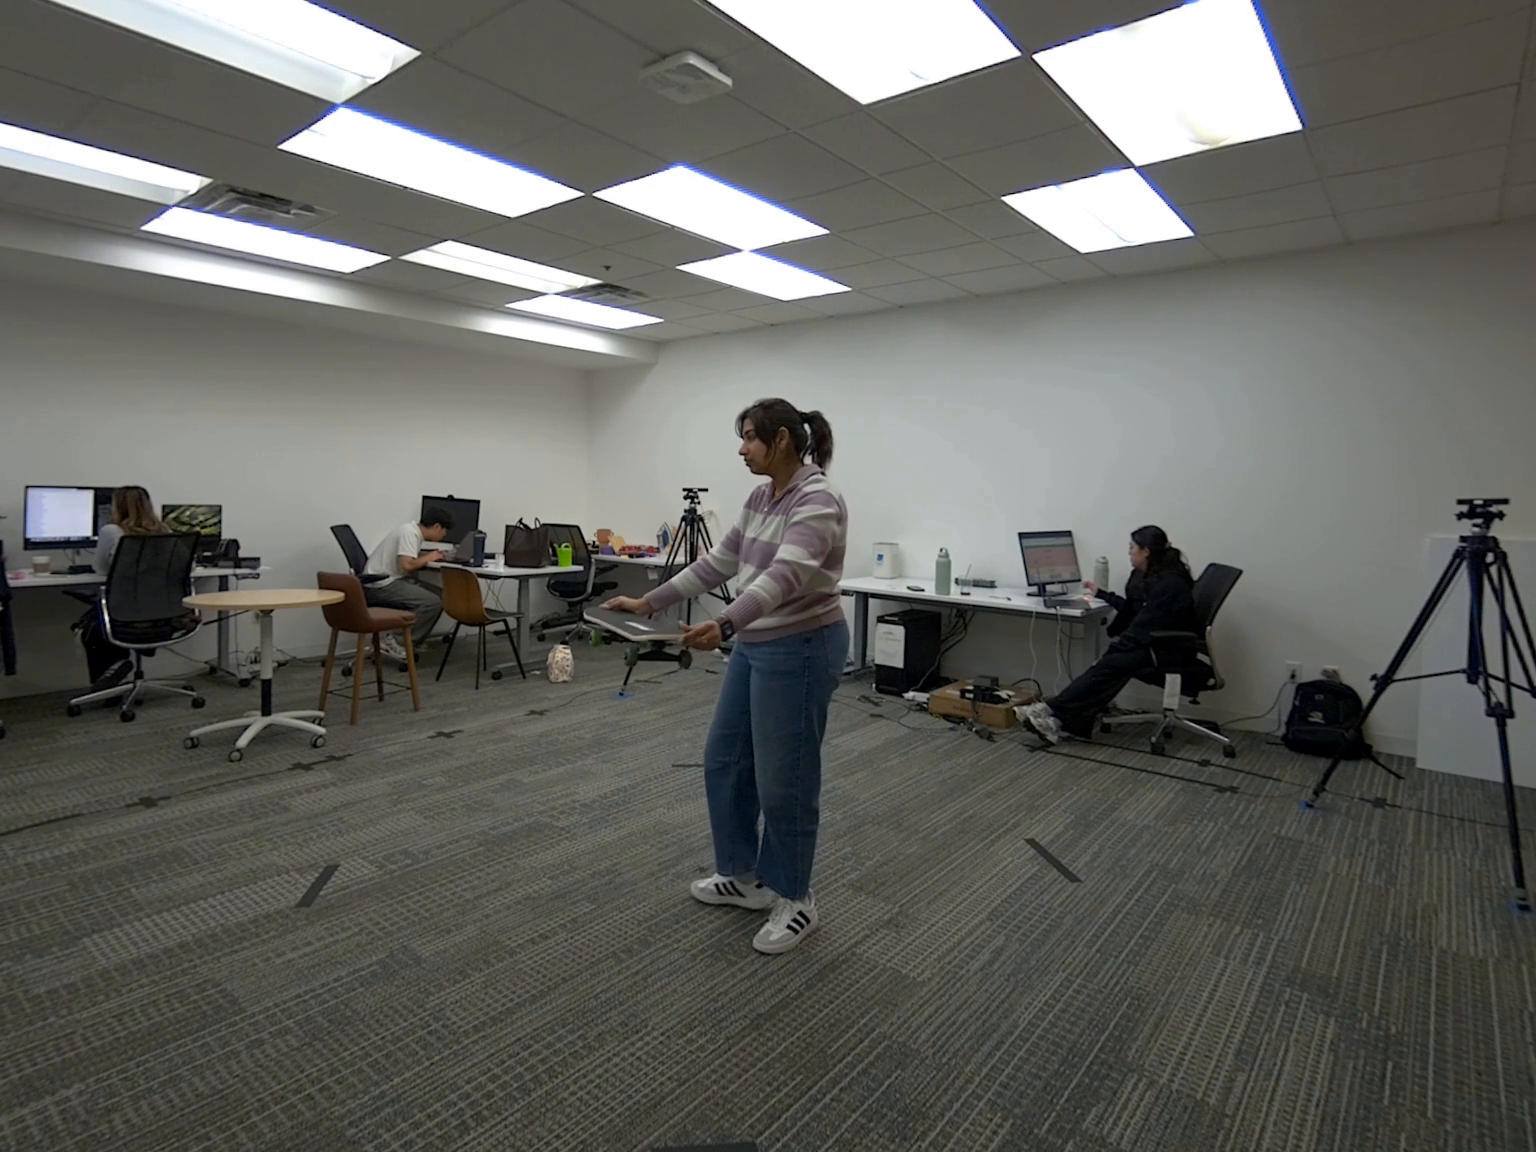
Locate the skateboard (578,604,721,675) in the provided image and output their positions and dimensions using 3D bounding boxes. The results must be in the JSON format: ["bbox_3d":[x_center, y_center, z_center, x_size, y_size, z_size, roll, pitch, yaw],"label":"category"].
[{"bbox_3d":[-0.376,0.171,2.477,0.188,0.110,0.804,7,-1,-24],"label":"skateboard"}]
